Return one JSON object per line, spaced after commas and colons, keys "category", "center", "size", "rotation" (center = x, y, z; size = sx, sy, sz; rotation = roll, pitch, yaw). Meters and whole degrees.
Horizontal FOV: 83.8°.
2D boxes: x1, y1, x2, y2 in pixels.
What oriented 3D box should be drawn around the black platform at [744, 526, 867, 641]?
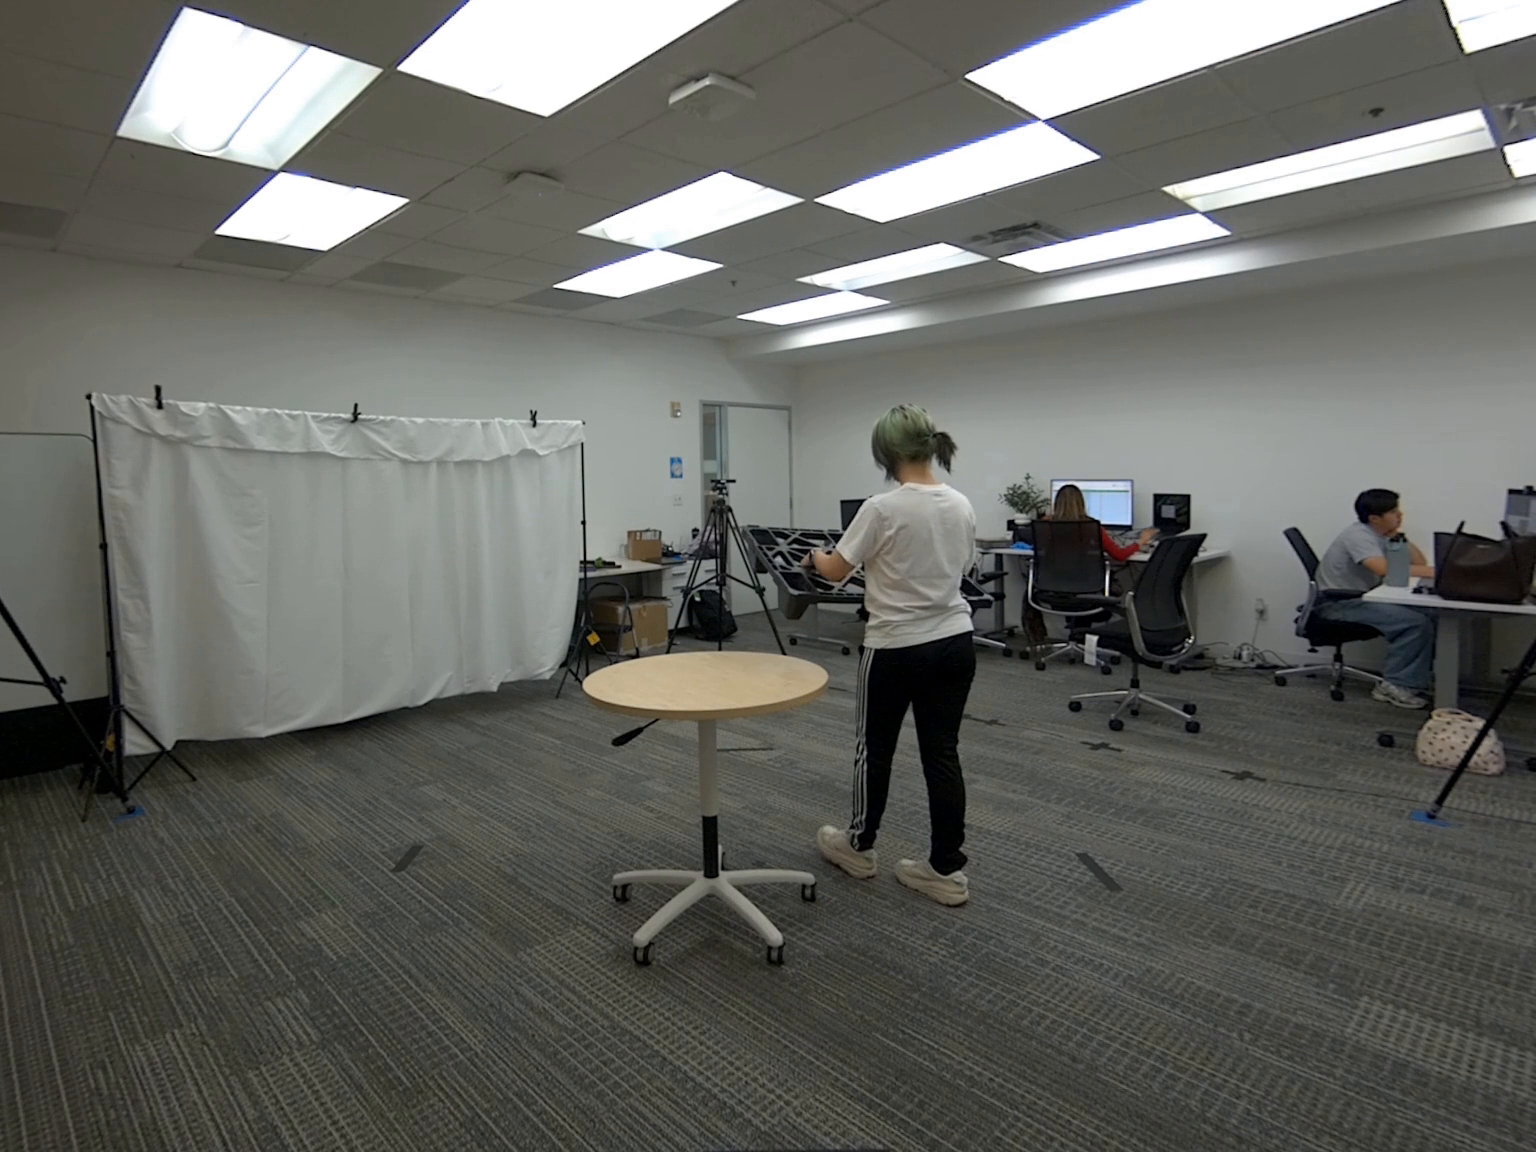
{"category": "black platform", "center": [0.337, -0.005, 3.258], "size": [0.791, 0.141, 0.625], "rotation": [3, 23, -19]}
